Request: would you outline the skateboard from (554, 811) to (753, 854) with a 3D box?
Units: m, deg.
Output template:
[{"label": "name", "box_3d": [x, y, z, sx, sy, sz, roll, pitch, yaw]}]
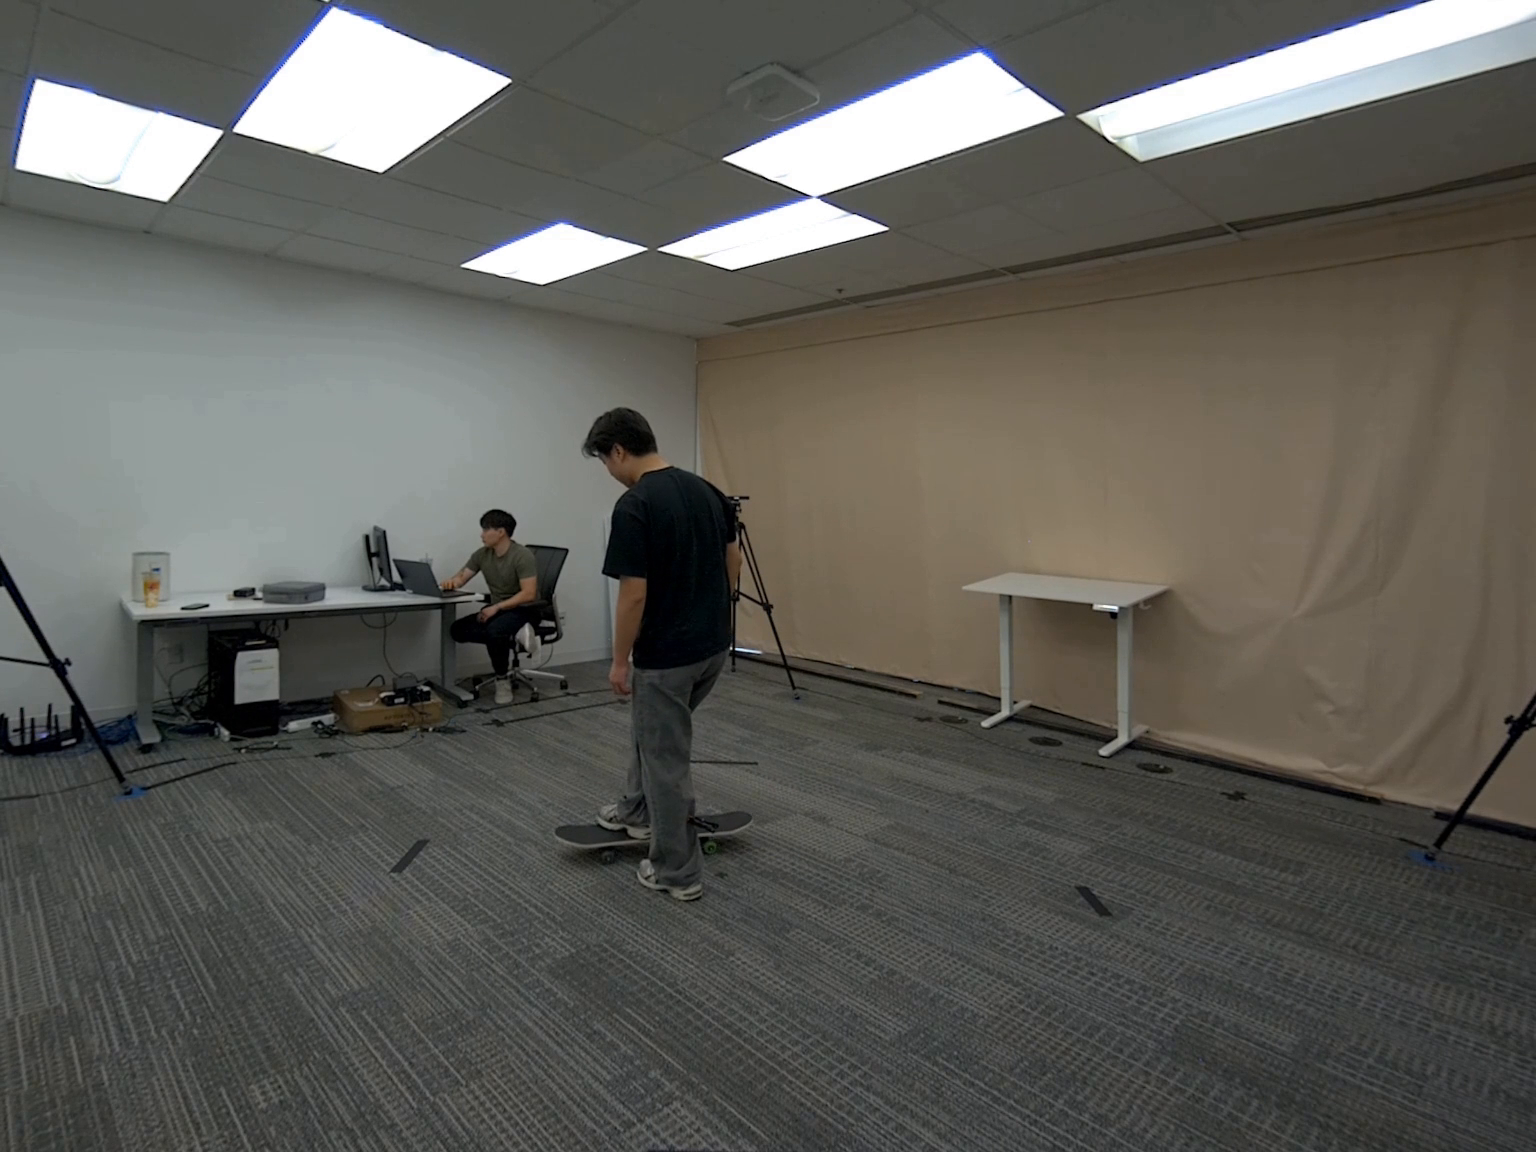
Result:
[{"label": "skateboard", "box_3d": [-0.449, 1.023, 3.307, 0.776, 0.110, 0.196, -1, 5, -16]}]
